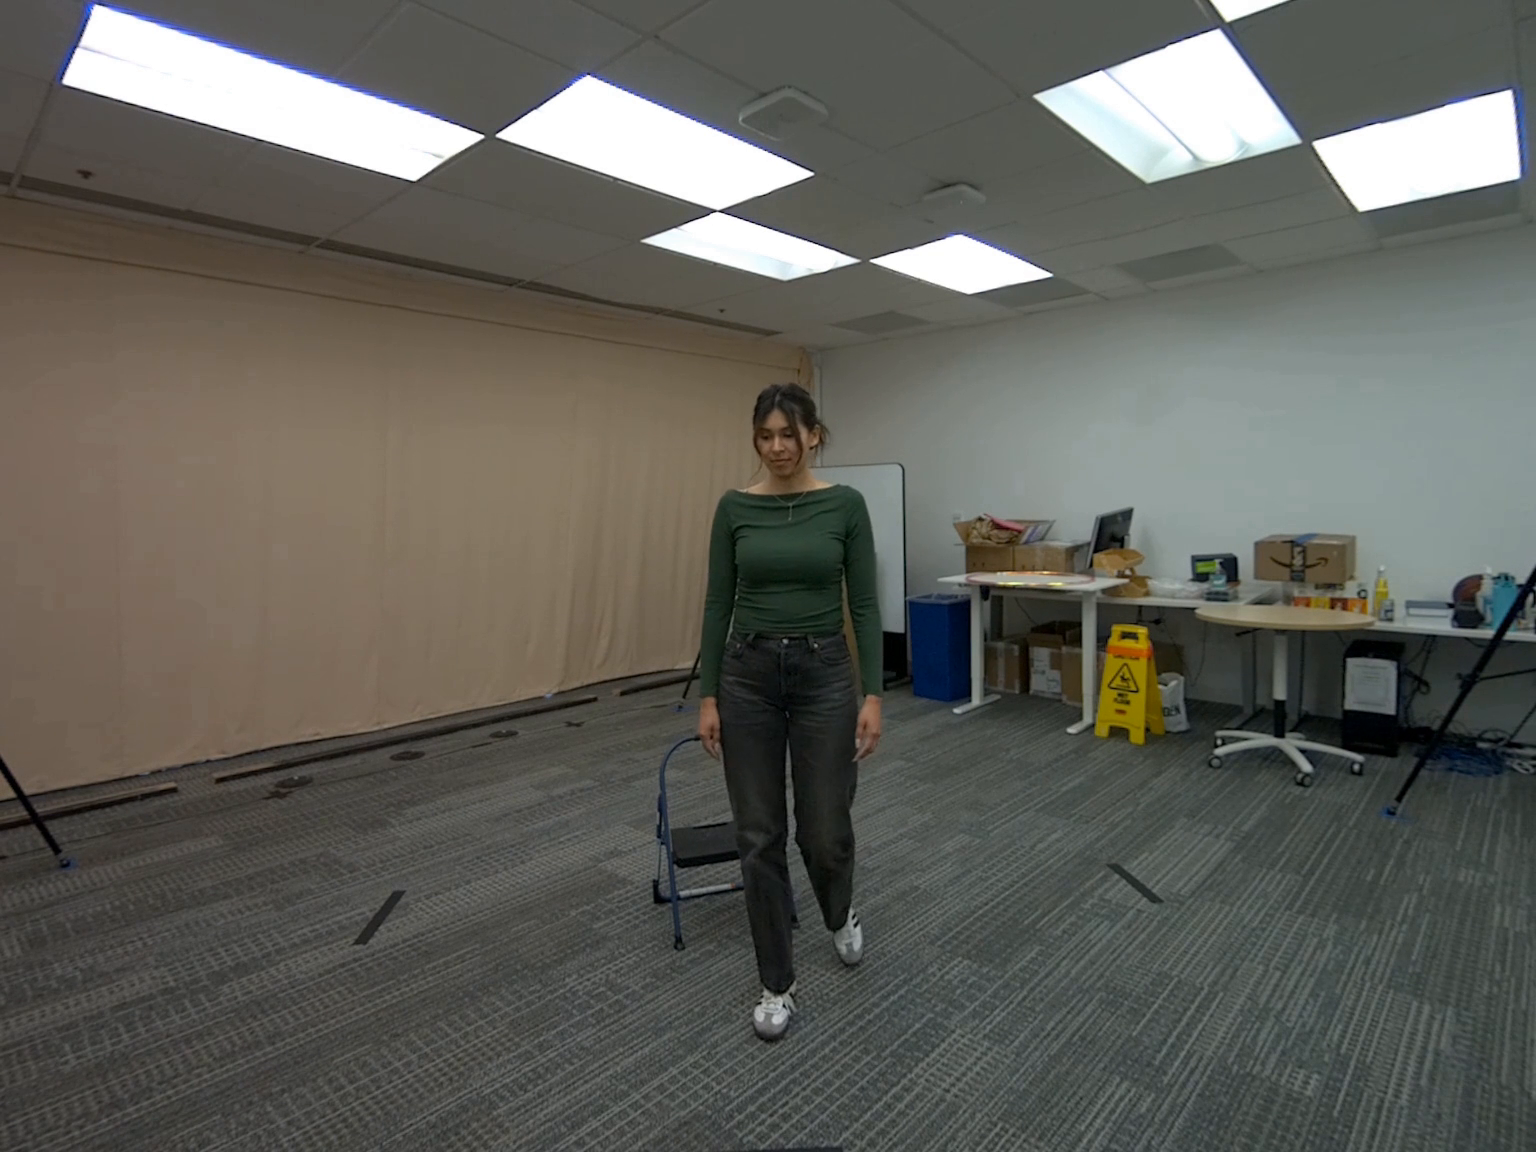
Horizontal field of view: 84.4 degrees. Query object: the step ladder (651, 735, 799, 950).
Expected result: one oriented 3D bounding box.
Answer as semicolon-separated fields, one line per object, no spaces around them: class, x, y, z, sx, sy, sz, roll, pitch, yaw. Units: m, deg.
step ladder;-0.154;0.850;2.851;0.422;0.605;0.357;-2;4;-19
